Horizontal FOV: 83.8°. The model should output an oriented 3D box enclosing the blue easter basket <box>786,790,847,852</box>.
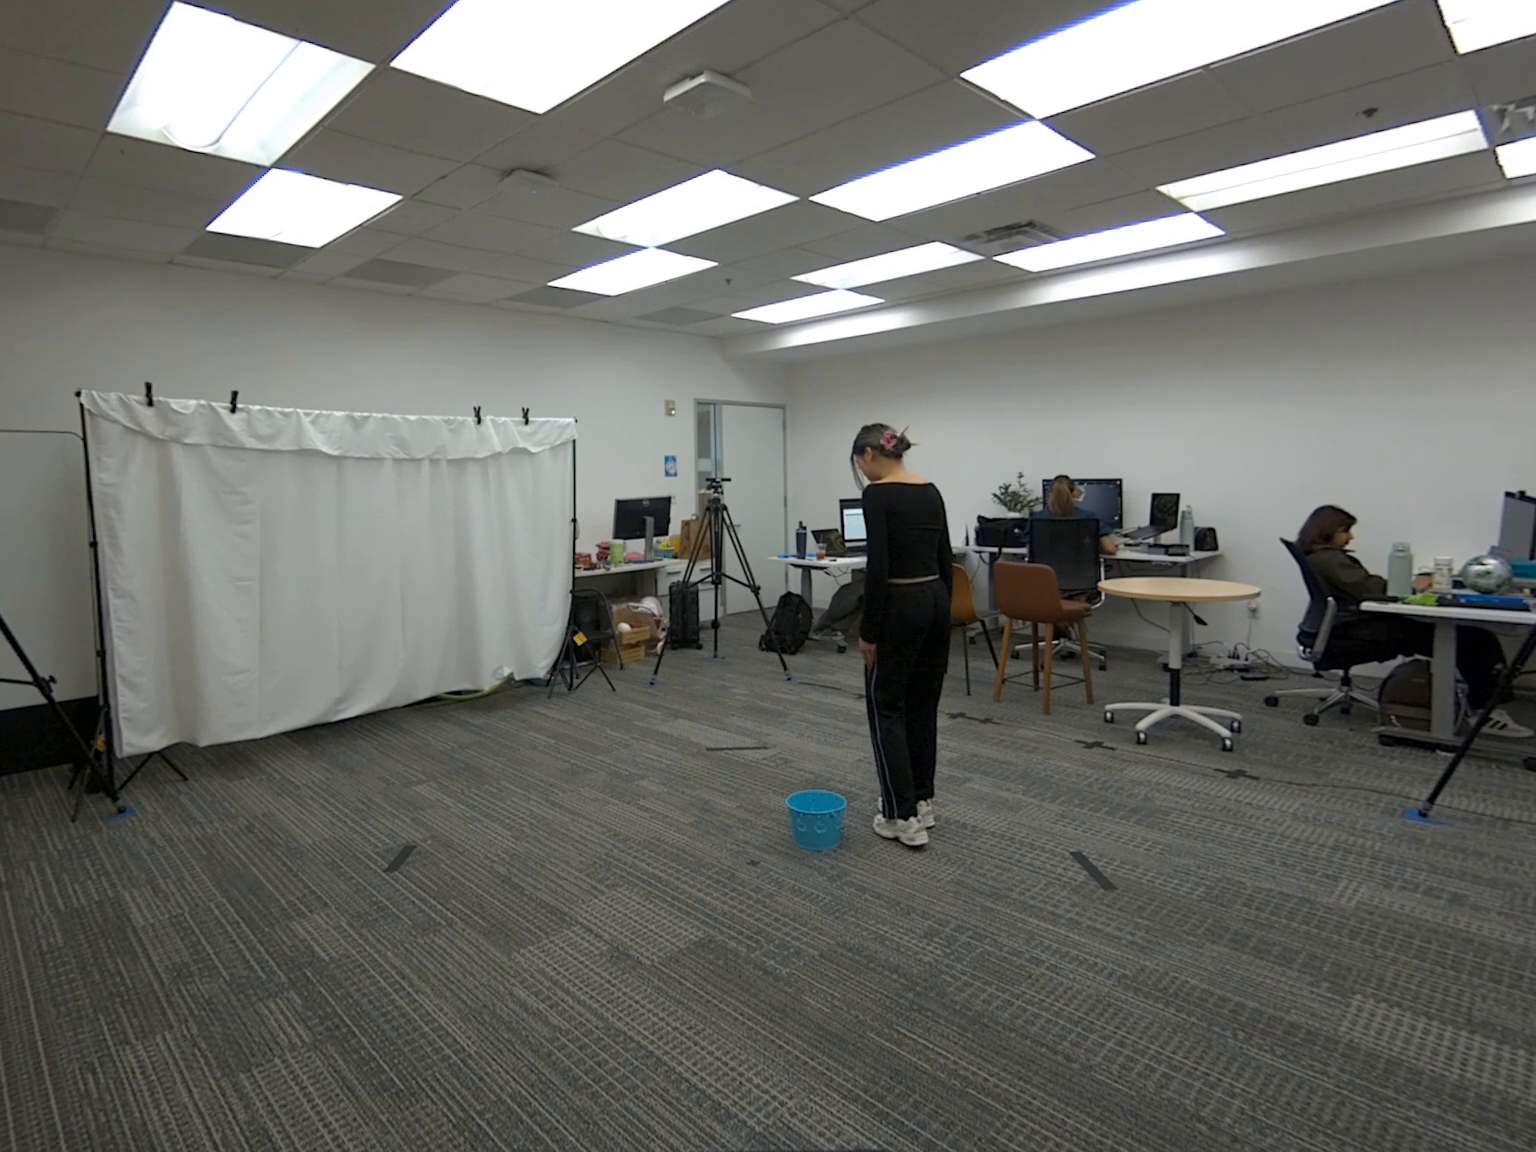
[{"bbox_3d":[0.196,0.940,3.289,0.243,0.155,0.245,-1,6,-2],"label":"blue easter basket"}]
